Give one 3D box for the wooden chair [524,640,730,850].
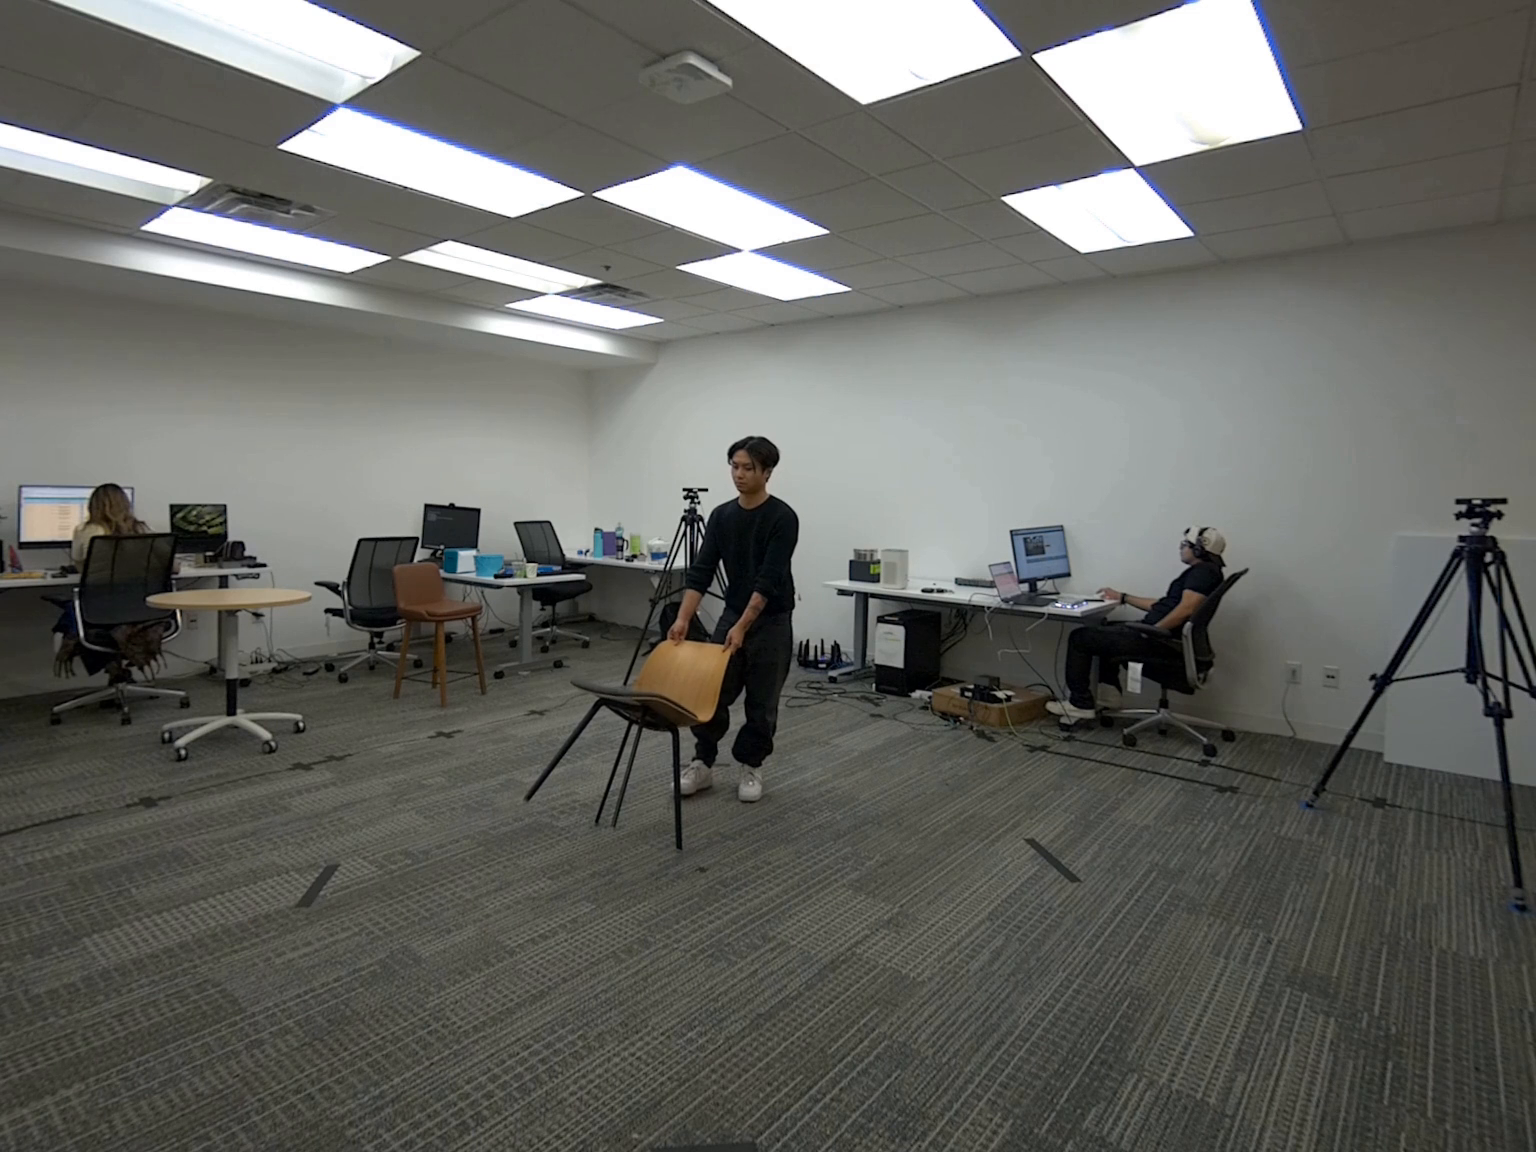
[{"bbox_3d":[-0.527,0.552,3.355,0.493,0.888,0.501,3,-28,34],"label":"wooden chair"}]
